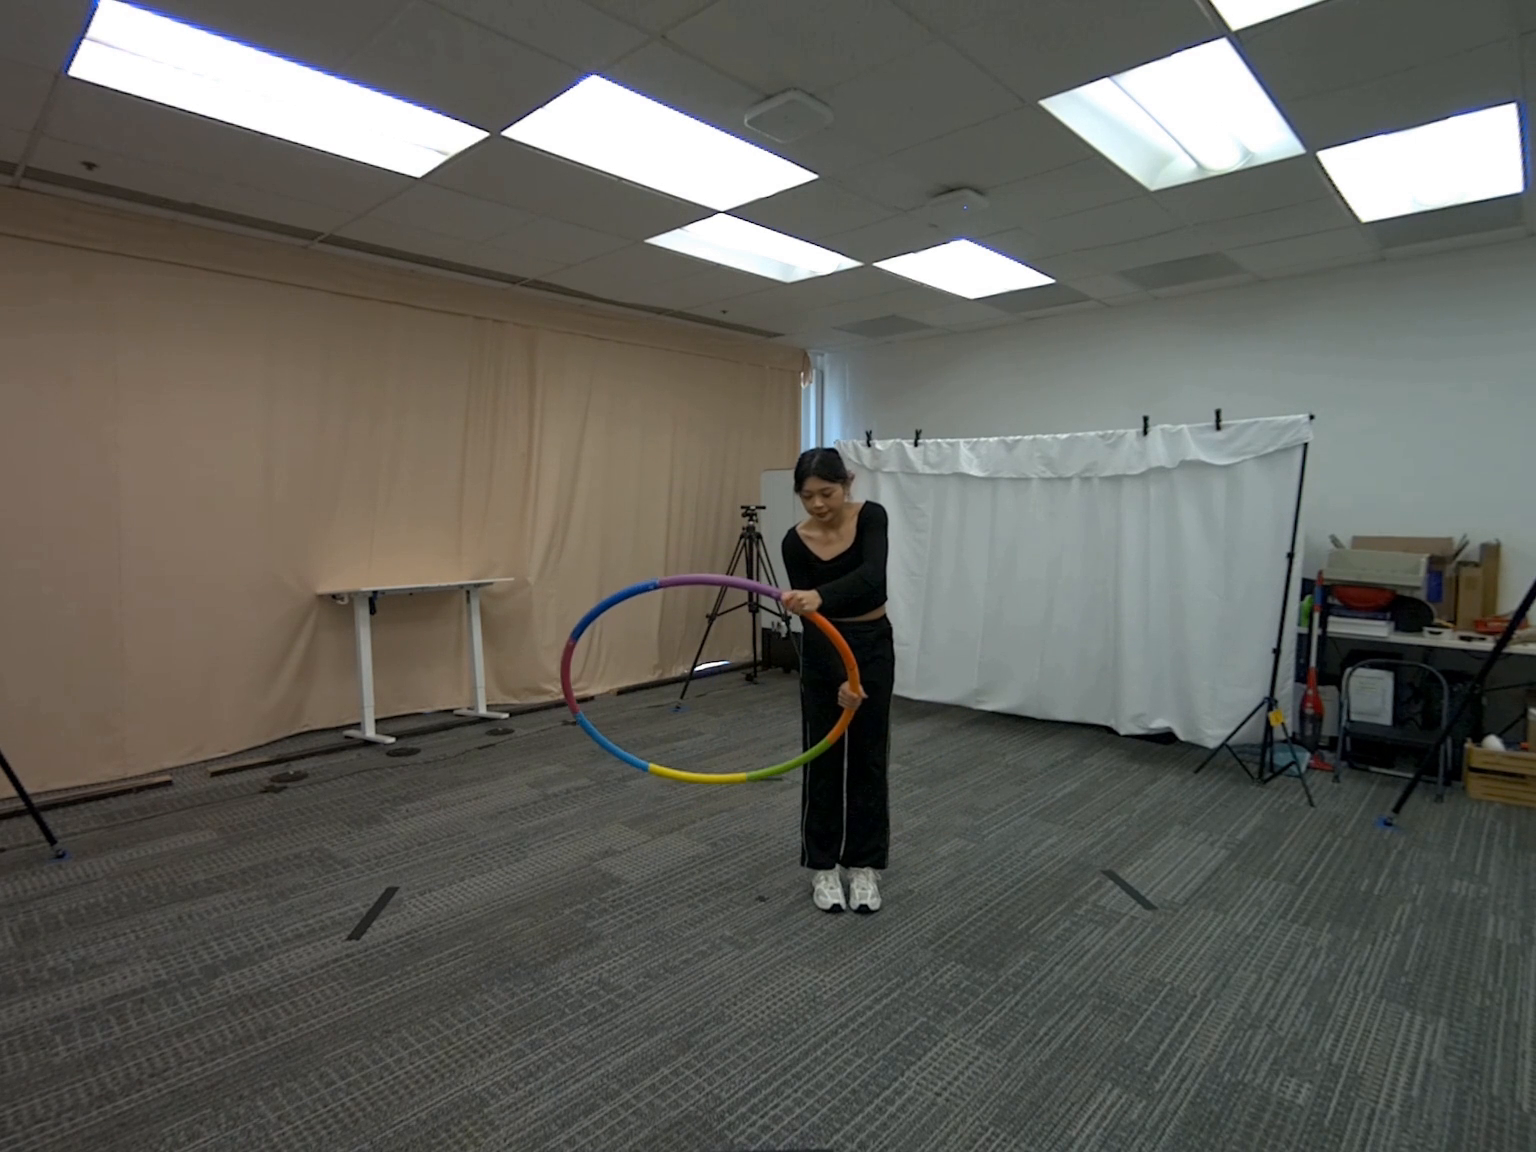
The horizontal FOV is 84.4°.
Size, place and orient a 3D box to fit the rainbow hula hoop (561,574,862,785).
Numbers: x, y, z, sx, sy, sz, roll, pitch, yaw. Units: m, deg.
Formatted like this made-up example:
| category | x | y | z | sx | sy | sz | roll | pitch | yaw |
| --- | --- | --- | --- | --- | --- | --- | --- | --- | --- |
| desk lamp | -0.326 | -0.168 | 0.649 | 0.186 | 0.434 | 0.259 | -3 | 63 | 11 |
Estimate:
| category | x | y | z | sx | sy | sz | roll | pitch | yaw |
| --- | --- | --- | --- | --- | --- | --- | --- | --- | --- |
| rainbow hula hoop | -0.193 | 0.378 | 2.768 | 0.985 | 0.959 | 0.036 | 1 | 38 | 6 |
